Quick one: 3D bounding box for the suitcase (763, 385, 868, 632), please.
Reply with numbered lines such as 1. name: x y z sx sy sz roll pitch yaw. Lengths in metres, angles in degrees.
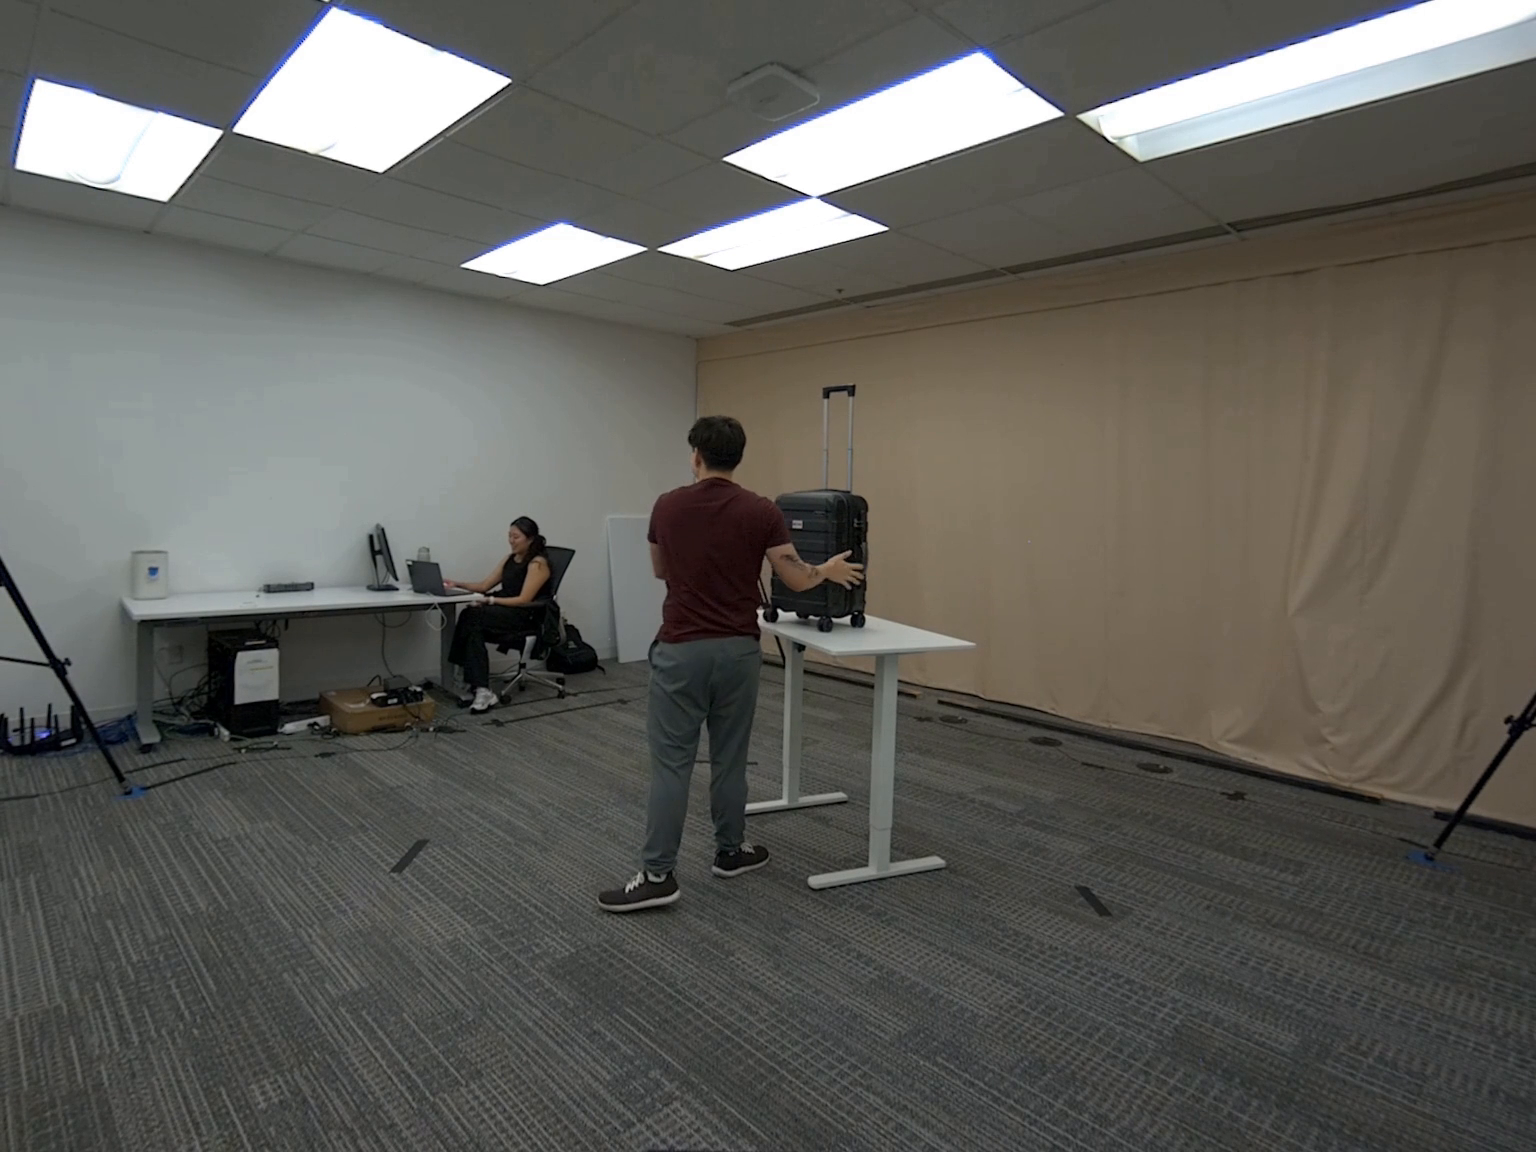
1. suitcase: 0.207 -0.282 3.419 0.394 0.976 0.251 4 5 45
